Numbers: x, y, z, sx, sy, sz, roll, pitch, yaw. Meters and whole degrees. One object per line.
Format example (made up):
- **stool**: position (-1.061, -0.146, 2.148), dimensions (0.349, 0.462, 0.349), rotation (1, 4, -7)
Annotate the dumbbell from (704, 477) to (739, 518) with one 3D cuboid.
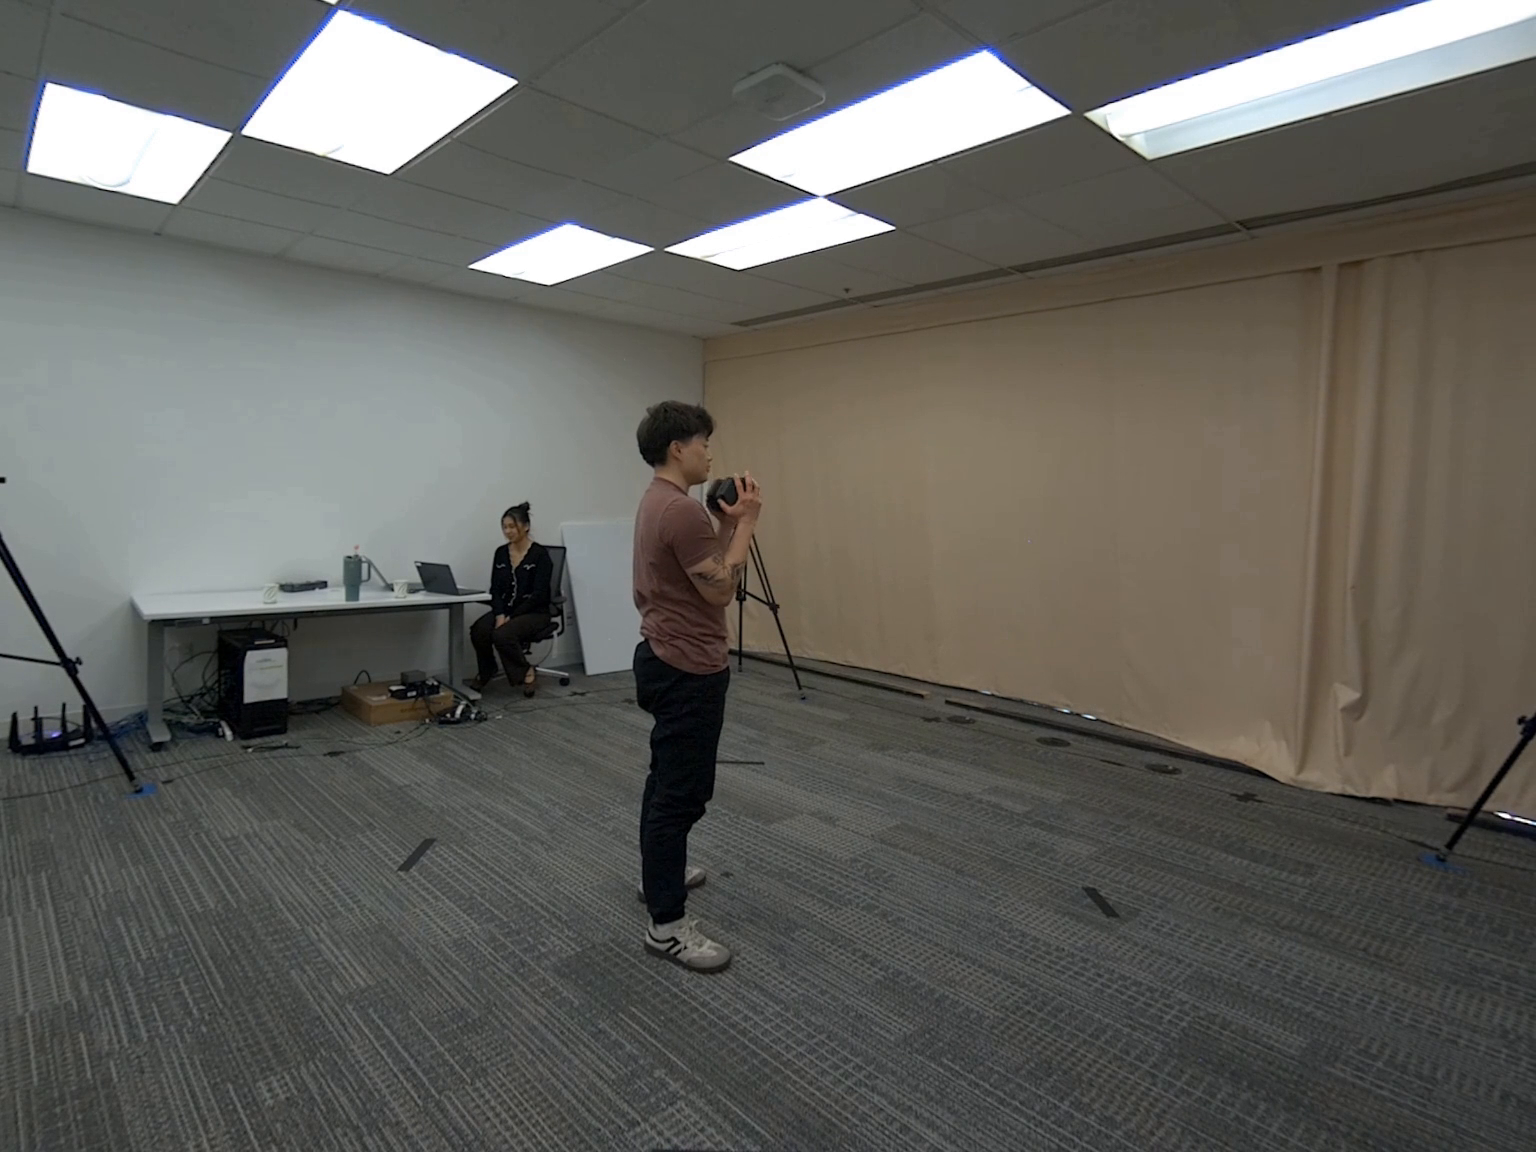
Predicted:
- **dumbbell**: position (-0.135, -0.260, 2.722), dimensions (0.107, 0.123, 0.297), rotation (37, -3, -14)
